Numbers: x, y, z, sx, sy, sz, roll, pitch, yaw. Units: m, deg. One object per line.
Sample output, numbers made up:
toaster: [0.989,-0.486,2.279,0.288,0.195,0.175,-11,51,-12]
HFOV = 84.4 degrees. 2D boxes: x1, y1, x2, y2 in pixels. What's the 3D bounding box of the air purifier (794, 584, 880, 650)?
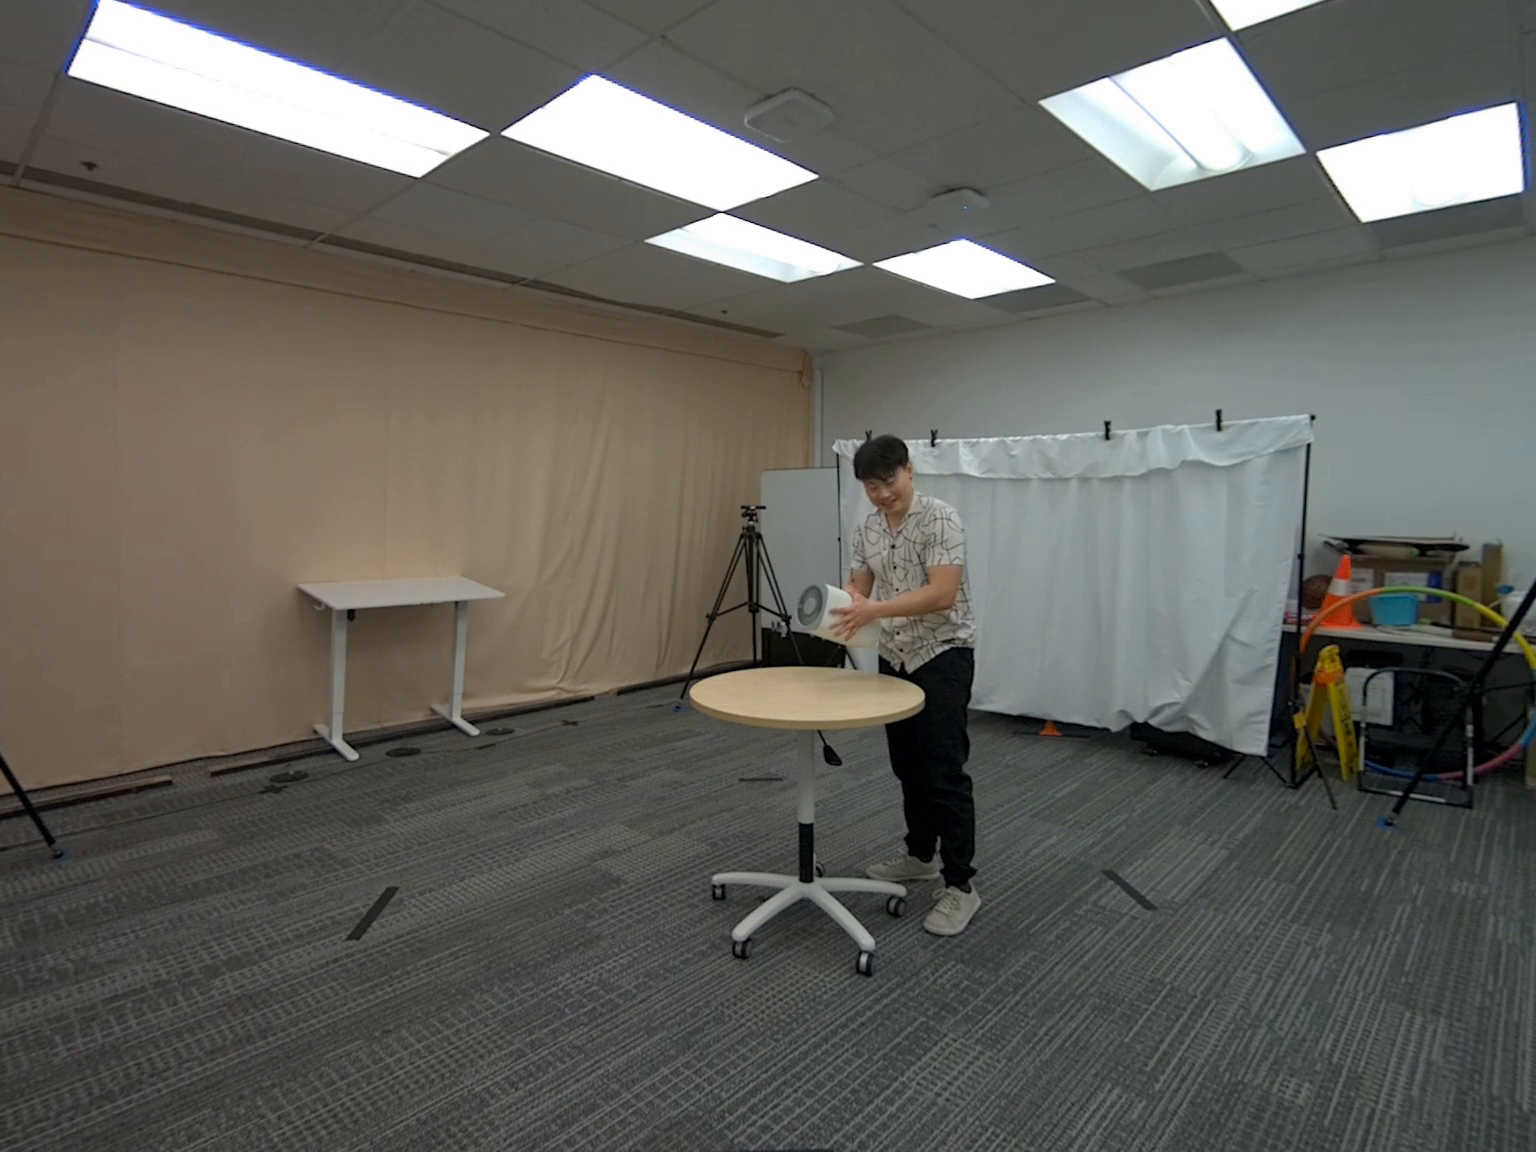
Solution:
air purifier: [0.252,0.140,2.910,0.258,0.172,0.176,19,-13,-27]
